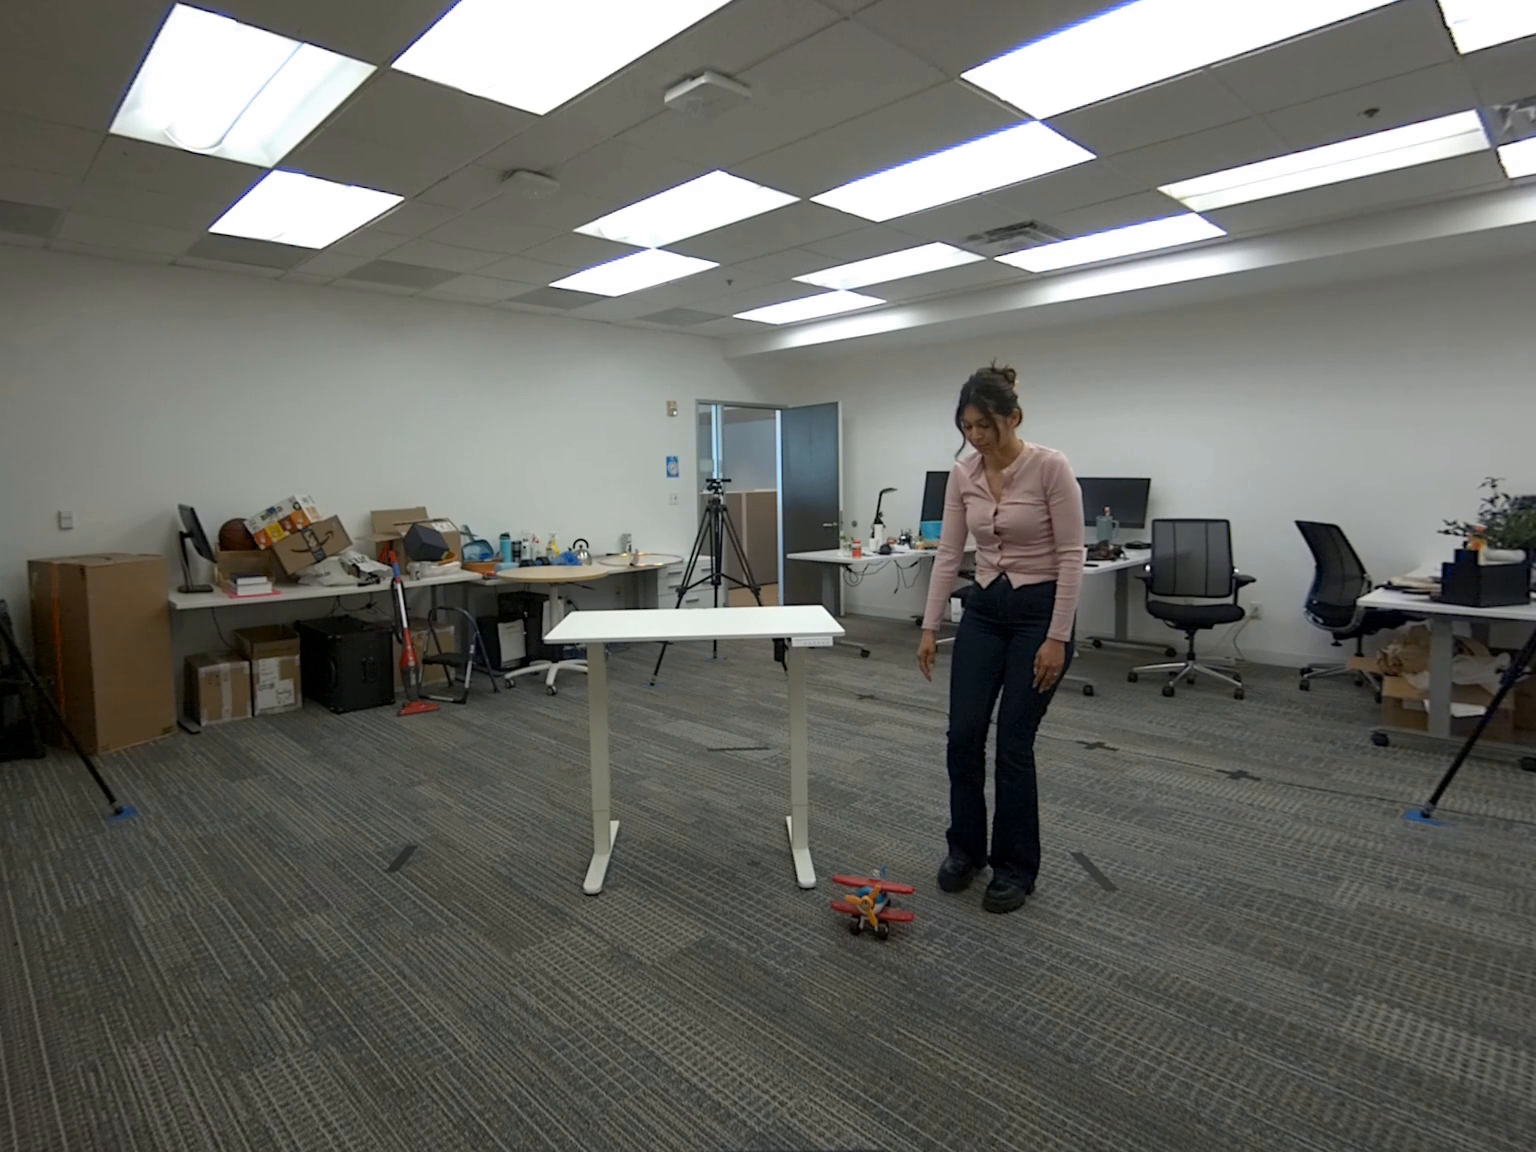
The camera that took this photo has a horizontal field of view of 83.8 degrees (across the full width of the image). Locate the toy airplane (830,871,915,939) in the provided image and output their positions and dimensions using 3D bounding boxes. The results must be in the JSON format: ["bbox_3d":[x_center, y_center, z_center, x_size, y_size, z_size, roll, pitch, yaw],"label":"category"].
[{"bbox_3d":[0.324,1.012,2.680,0.249,0.155,0.263,-3,7,-9],"label":"toy airplane"}]
